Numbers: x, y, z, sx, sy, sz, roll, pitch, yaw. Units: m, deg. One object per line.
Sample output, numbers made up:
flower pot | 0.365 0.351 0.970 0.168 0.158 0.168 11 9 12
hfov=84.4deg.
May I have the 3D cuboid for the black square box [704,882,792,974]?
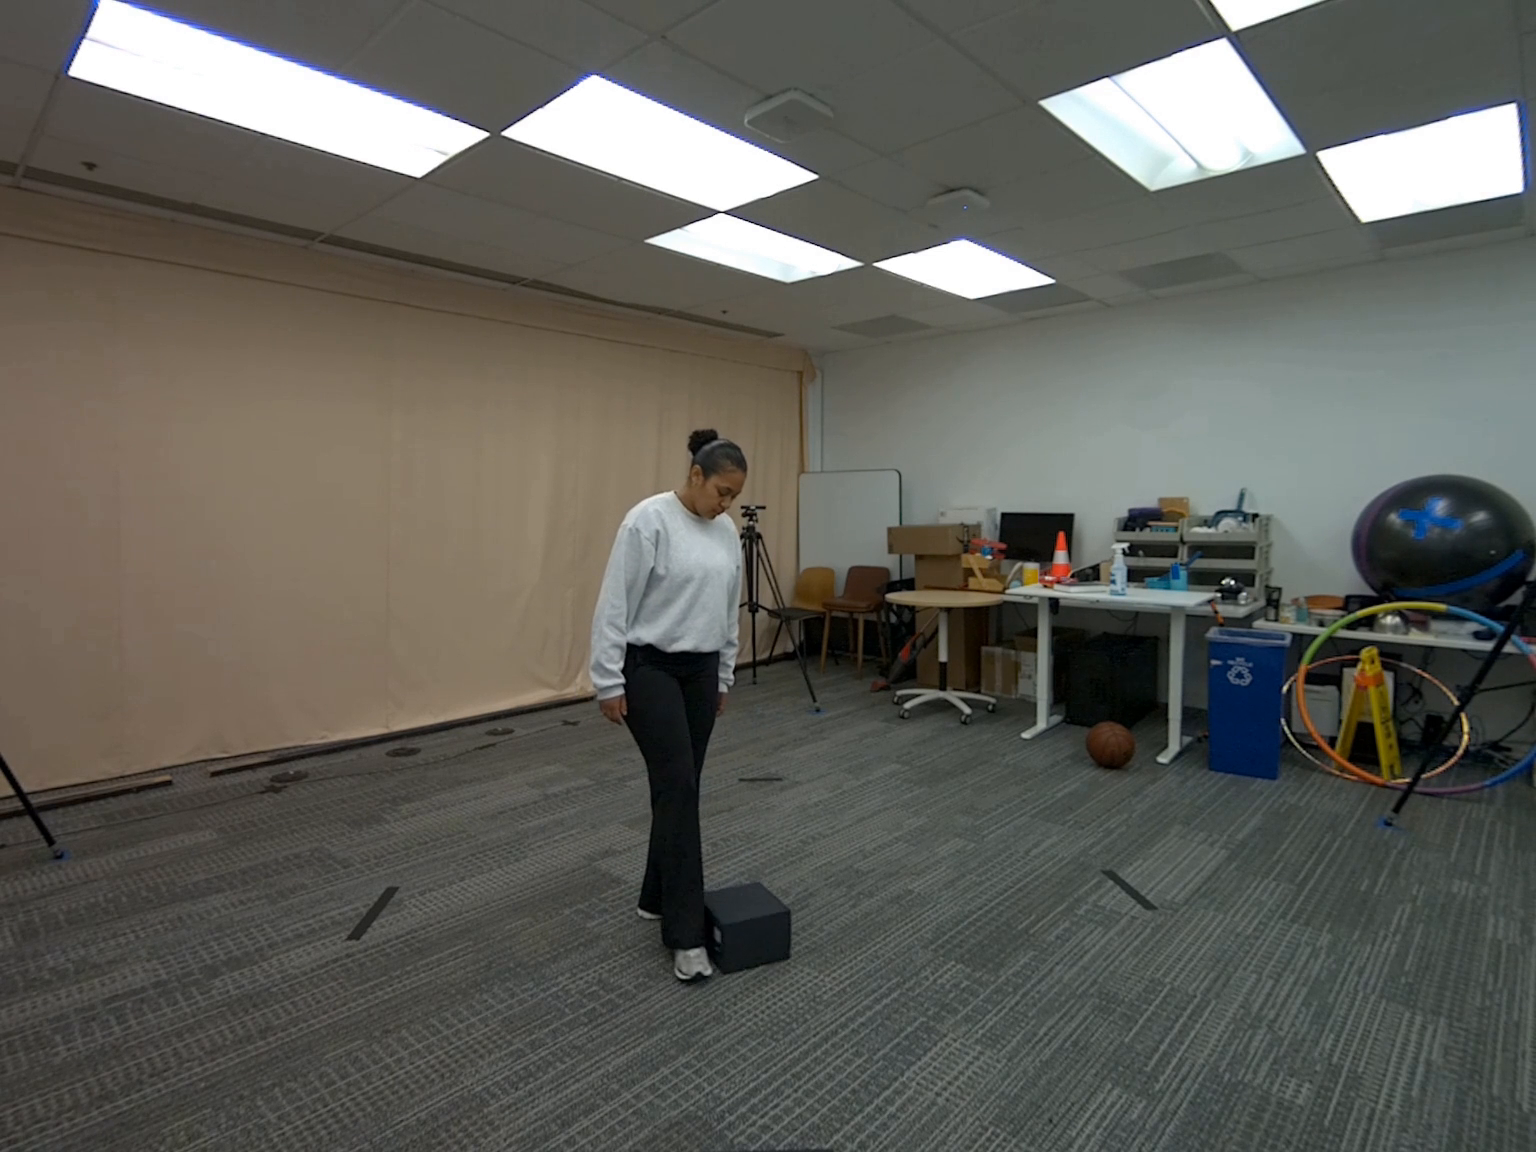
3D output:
black square box | -0.069 1.092 2.628 0.222 0.155 0.223 -2 4 -26
